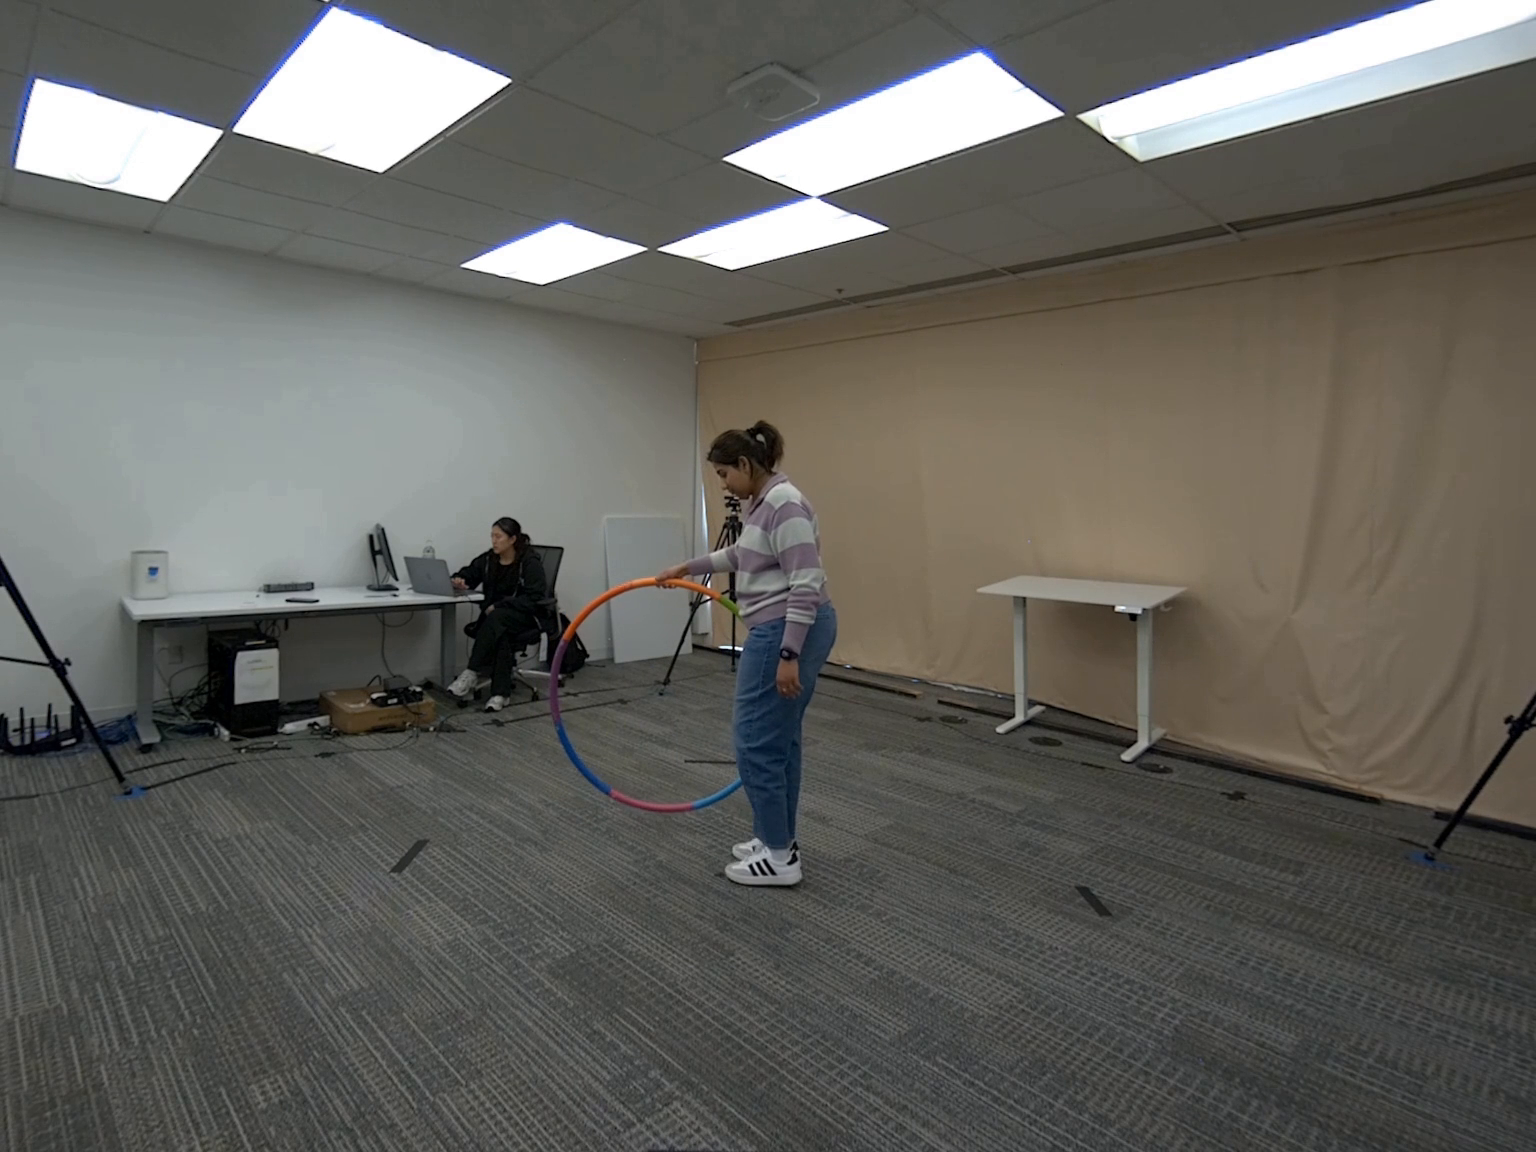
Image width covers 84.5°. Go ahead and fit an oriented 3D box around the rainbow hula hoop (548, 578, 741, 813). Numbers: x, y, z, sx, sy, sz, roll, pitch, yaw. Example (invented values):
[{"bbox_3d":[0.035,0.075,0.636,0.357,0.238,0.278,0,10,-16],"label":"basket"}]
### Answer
[{"bbox_3d":[-0.441,0.499,3.519,0.982,0.975,0.035,2,4,5],"label":"rainbow hula hoop"}]
